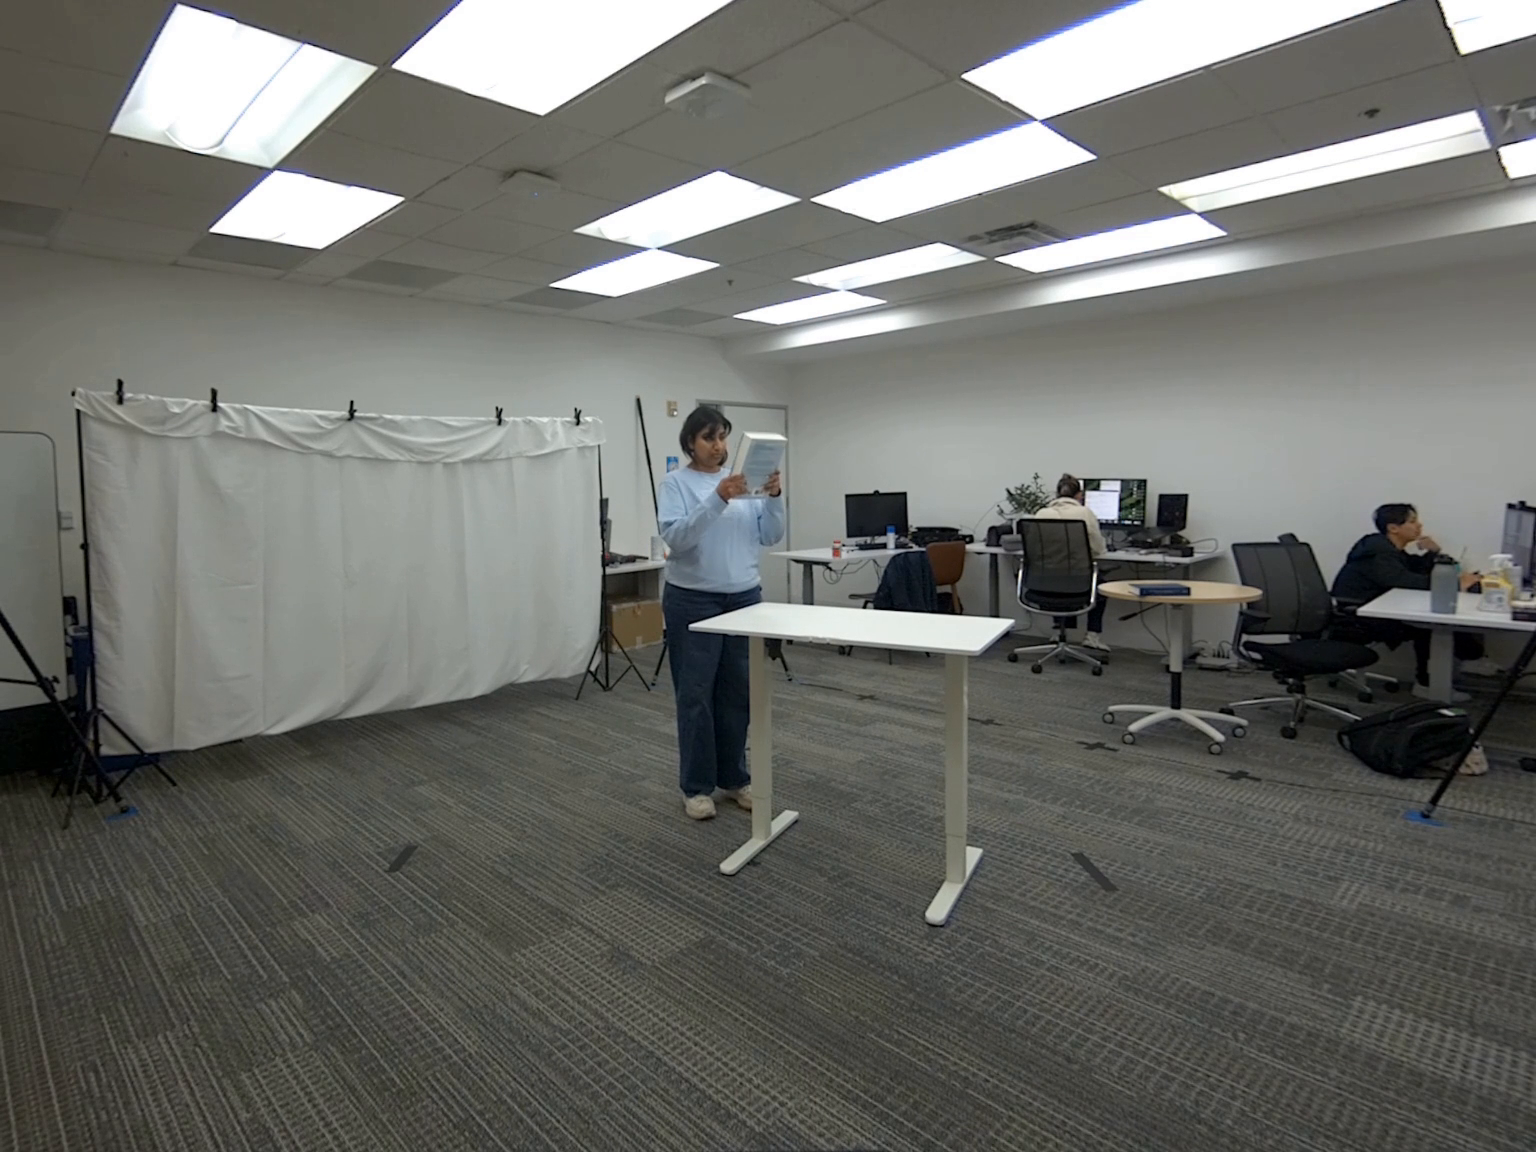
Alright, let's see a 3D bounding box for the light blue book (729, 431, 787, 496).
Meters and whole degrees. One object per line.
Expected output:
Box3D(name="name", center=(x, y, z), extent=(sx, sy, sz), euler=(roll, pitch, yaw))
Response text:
Box3D(name="light blue book", center=(-0.042, -0.427, 3.331), extent=(0.186, 0.258, 0.061), euler=(-4, 33, -40))
